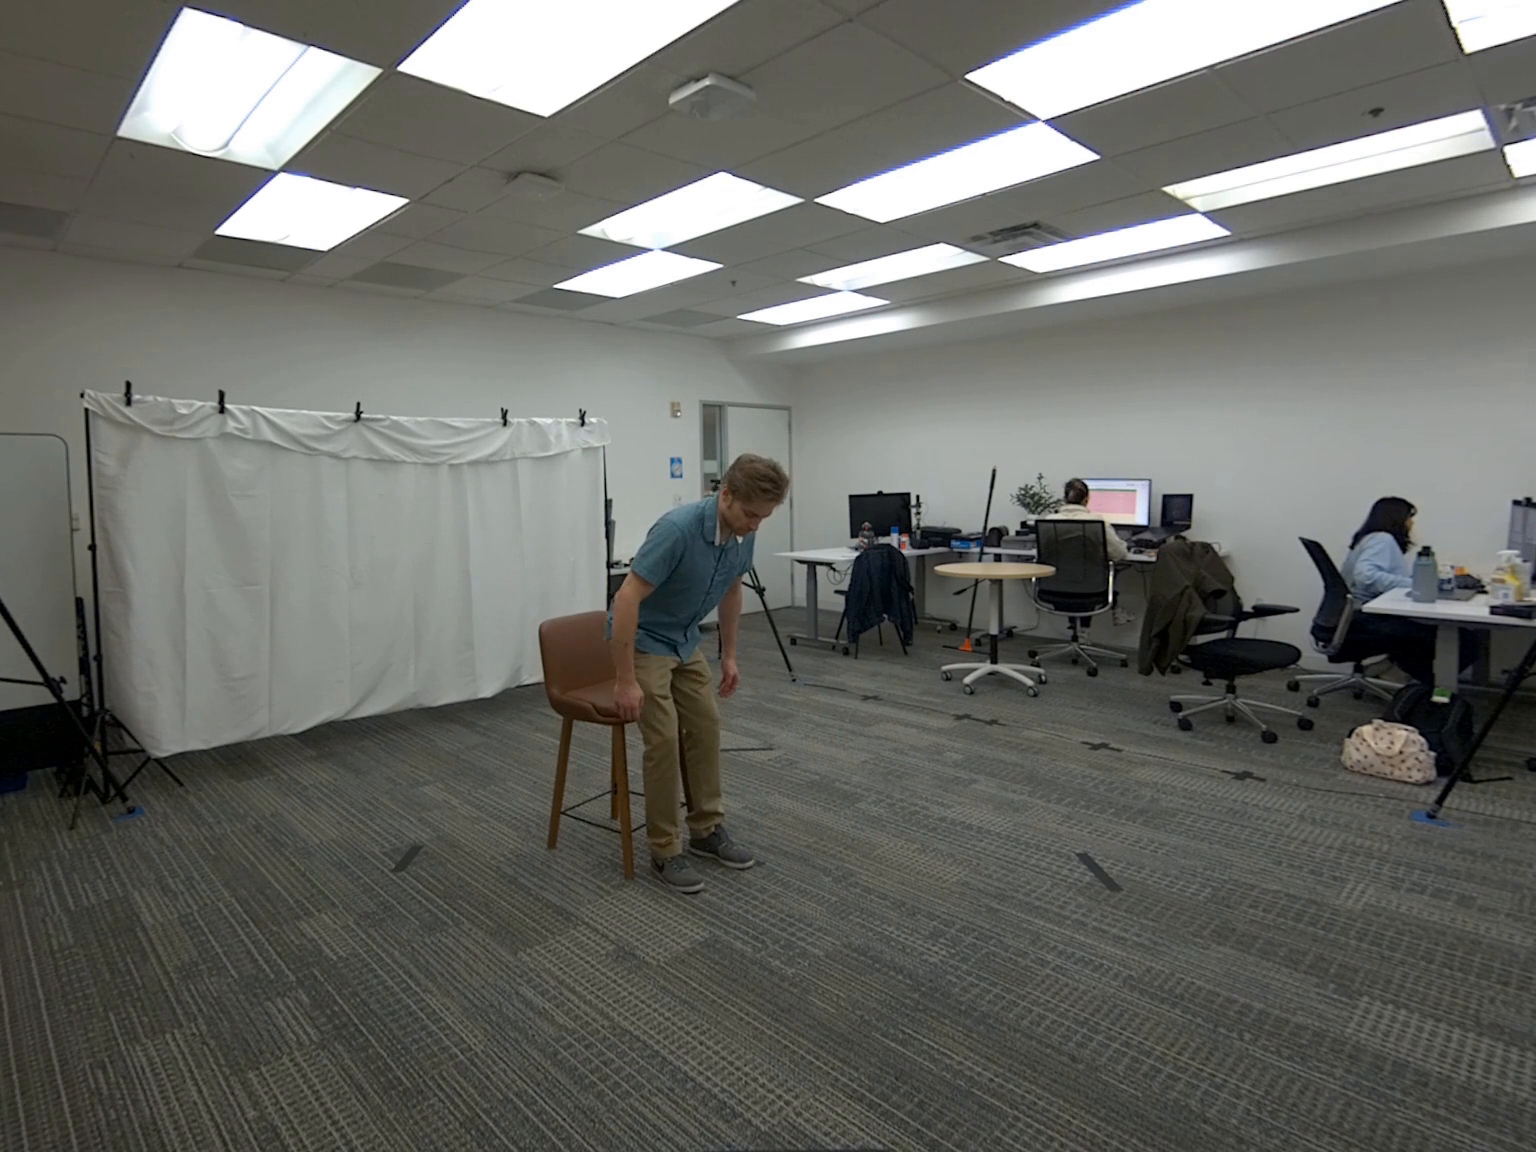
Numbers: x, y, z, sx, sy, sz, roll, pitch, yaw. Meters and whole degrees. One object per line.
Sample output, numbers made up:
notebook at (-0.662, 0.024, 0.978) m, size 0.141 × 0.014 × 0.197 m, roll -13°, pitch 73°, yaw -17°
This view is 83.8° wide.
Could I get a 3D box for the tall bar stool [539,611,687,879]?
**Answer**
tall bar stool at (-0.569, 0.598, 3.275) m, size 0.480 × 0.888 × 0.445 m, roll -1°, pitch 3°, yaw 36°
